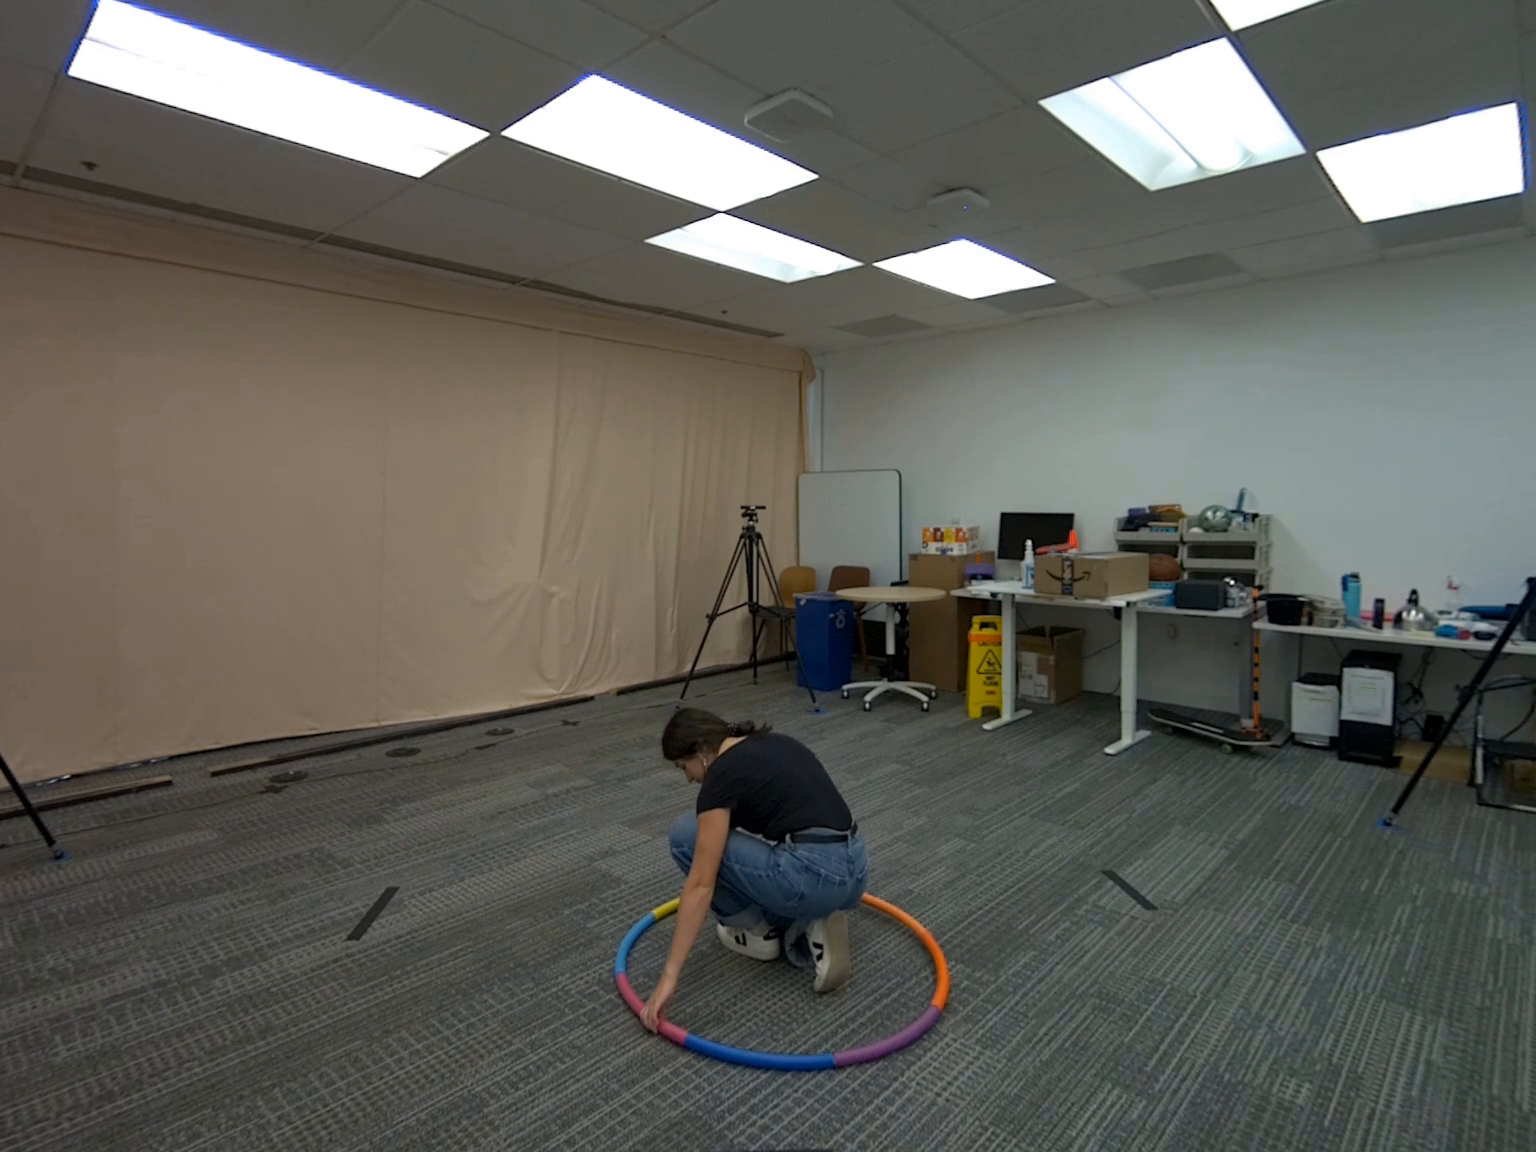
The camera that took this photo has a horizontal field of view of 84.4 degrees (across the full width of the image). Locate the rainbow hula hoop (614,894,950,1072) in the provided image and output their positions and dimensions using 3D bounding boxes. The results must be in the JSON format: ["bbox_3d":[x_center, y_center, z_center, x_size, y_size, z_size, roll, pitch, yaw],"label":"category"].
[{"bbox_3d":[0.044,1.139,2.555,0.978,0.035,0.983,-2,5,-2],"label":"rainbow hula hoop"}]
